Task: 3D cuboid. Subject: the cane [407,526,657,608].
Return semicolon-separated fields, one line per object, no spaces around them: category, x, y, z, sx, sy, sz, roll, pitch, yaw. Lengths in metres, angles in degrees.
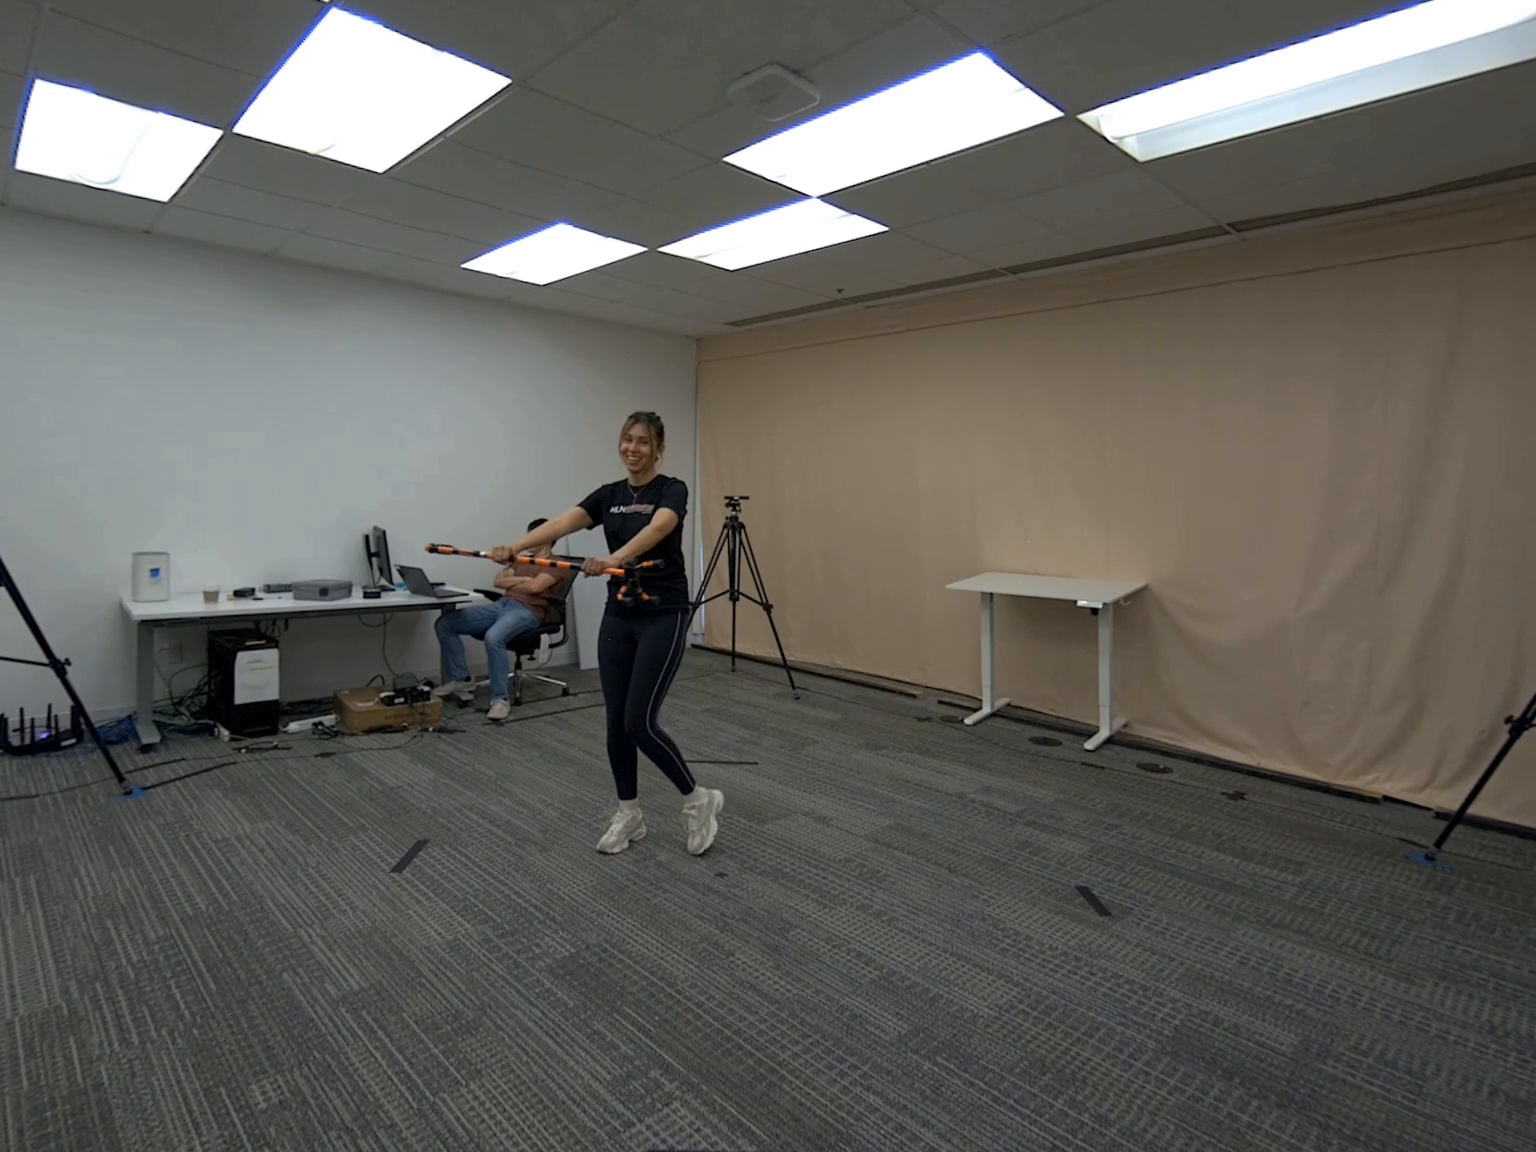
cane;-0.814;-0.039;2.896;0.926;0.151;0.202;8;1;25
